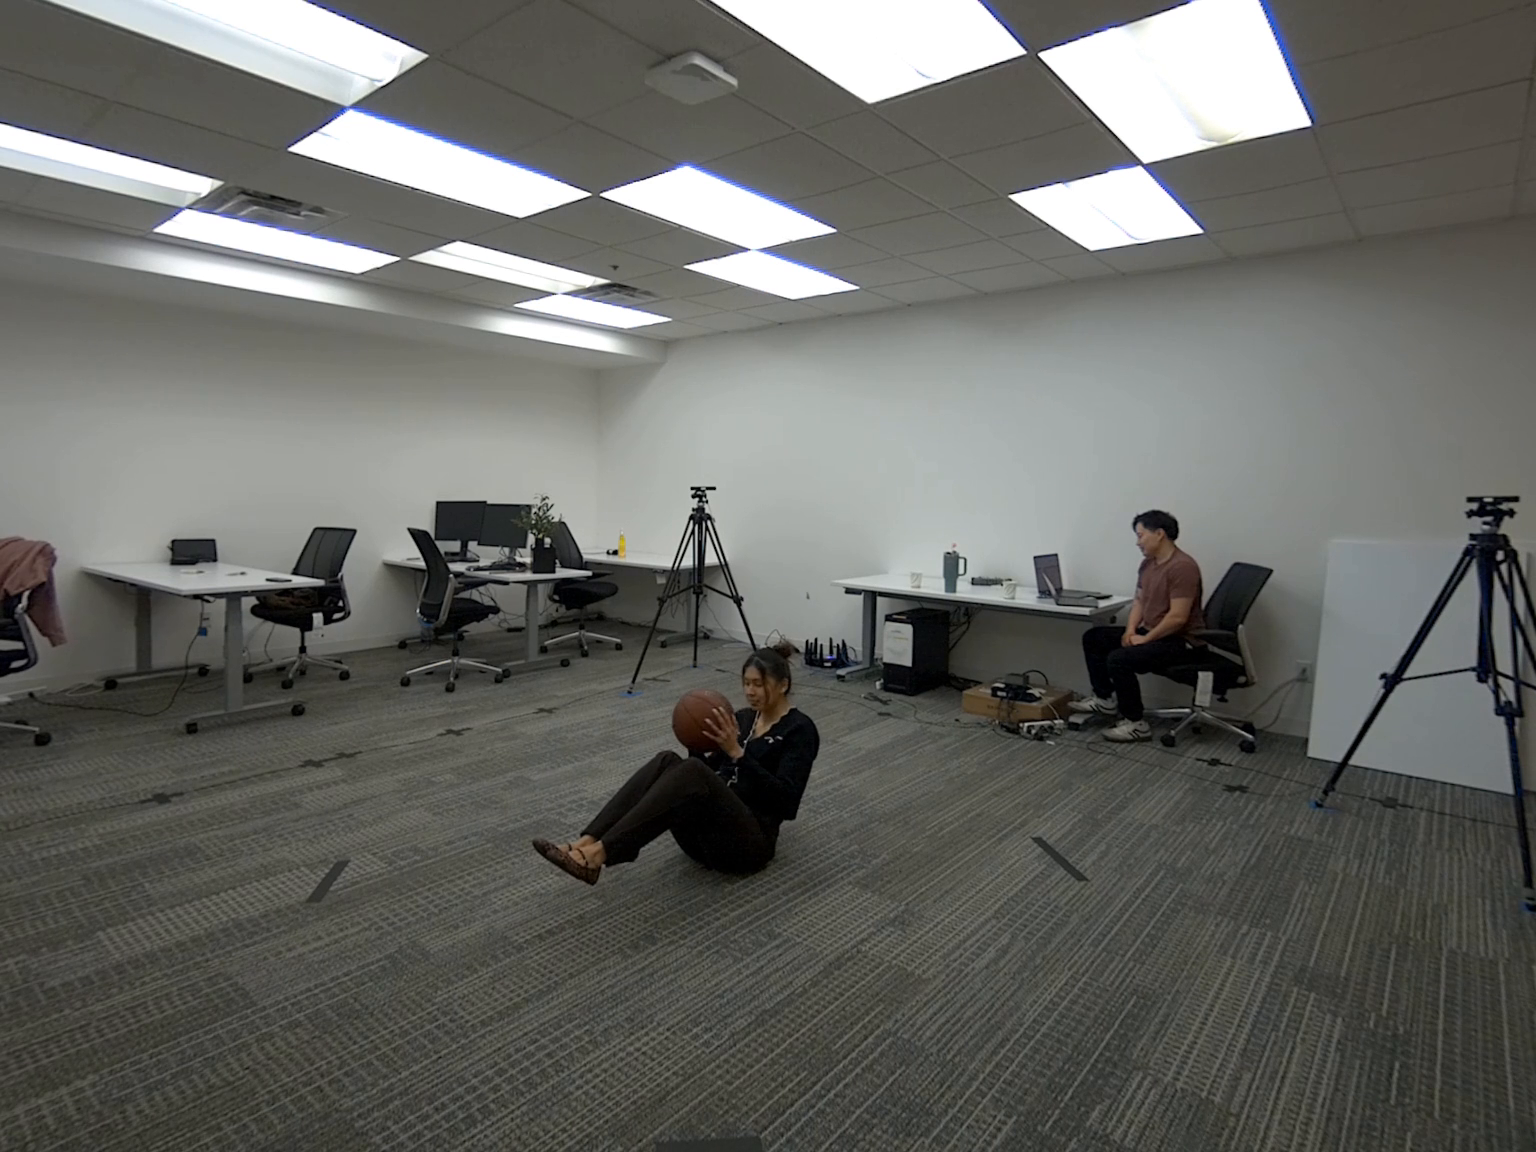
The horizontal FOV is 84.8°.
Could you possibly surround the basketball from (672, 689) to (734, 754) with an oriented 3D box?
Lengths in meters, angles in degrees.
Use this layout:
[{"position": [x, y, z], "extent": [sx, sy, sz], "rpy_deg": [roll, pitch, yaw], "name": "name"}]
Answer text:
[{"position": [-0.244, 0.555, 3.193], "extent": [0.235, 0.235, 0.237], "rpy_deg": [1, 4, -2], "name": "basketball"}]
